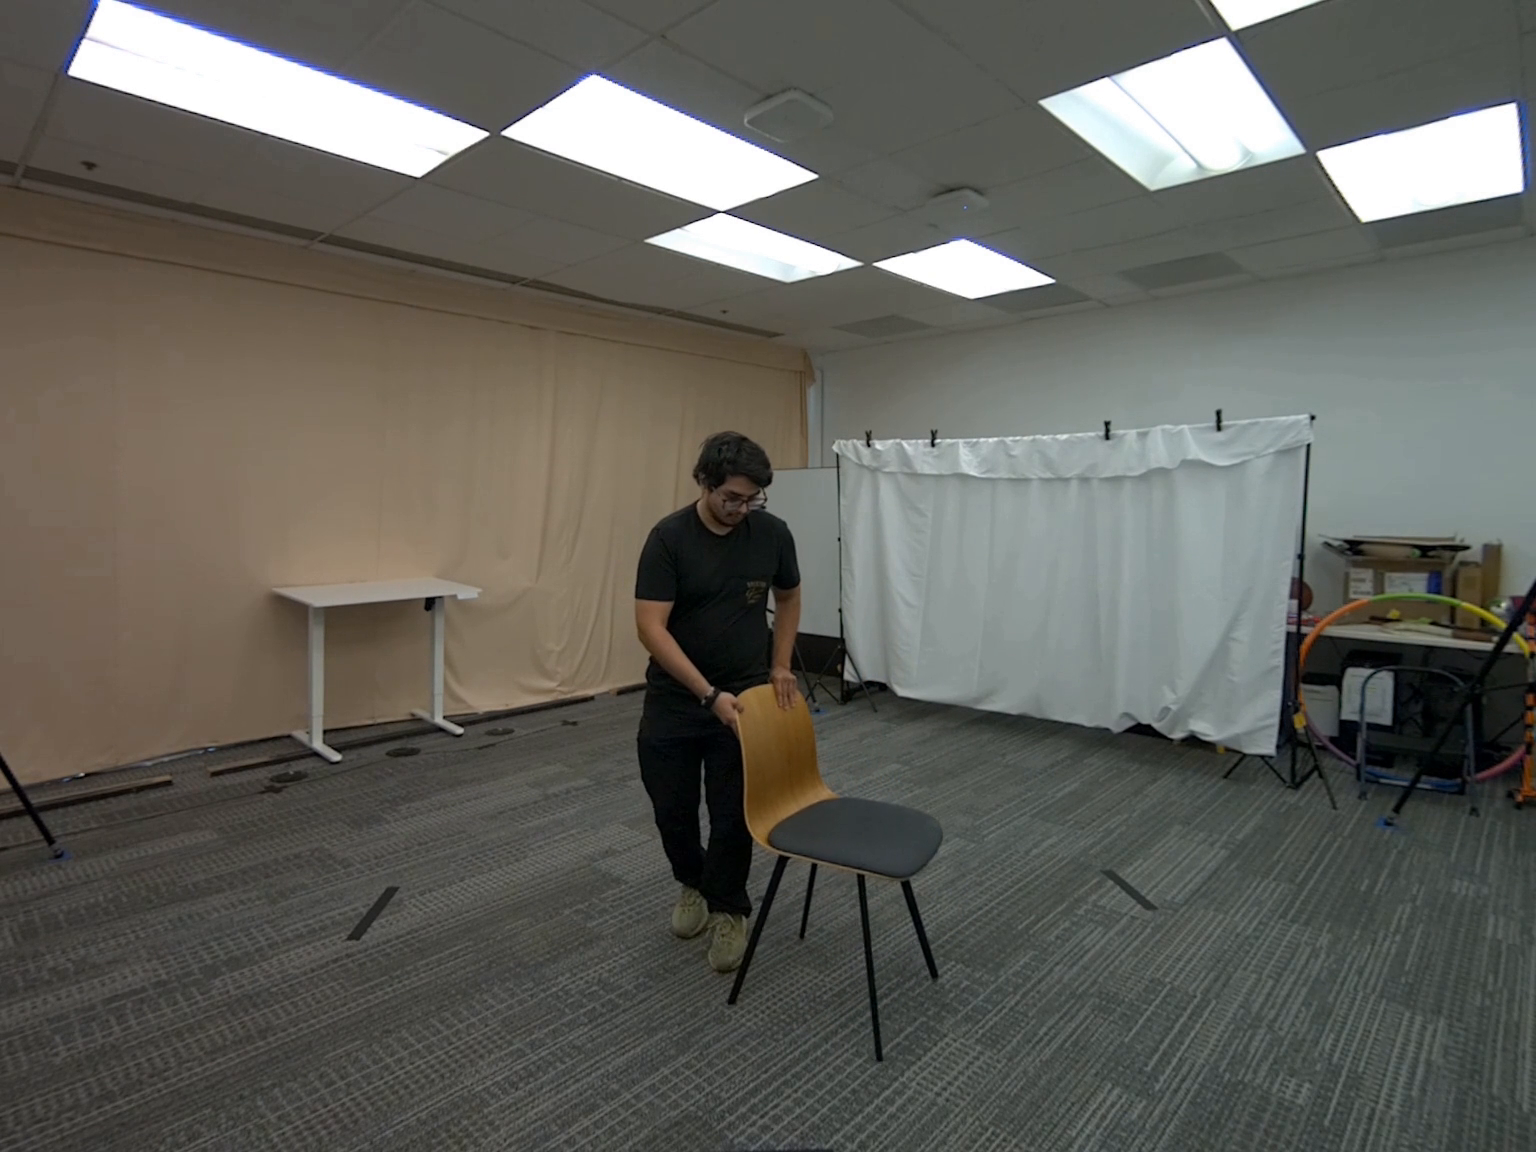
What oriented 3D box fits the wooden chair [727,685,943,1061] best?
[{"bbox_3d":[0.209,0.768,2.386,0.538,0.877,0.465,-3,1,31],"label":"wooden chair"}]
